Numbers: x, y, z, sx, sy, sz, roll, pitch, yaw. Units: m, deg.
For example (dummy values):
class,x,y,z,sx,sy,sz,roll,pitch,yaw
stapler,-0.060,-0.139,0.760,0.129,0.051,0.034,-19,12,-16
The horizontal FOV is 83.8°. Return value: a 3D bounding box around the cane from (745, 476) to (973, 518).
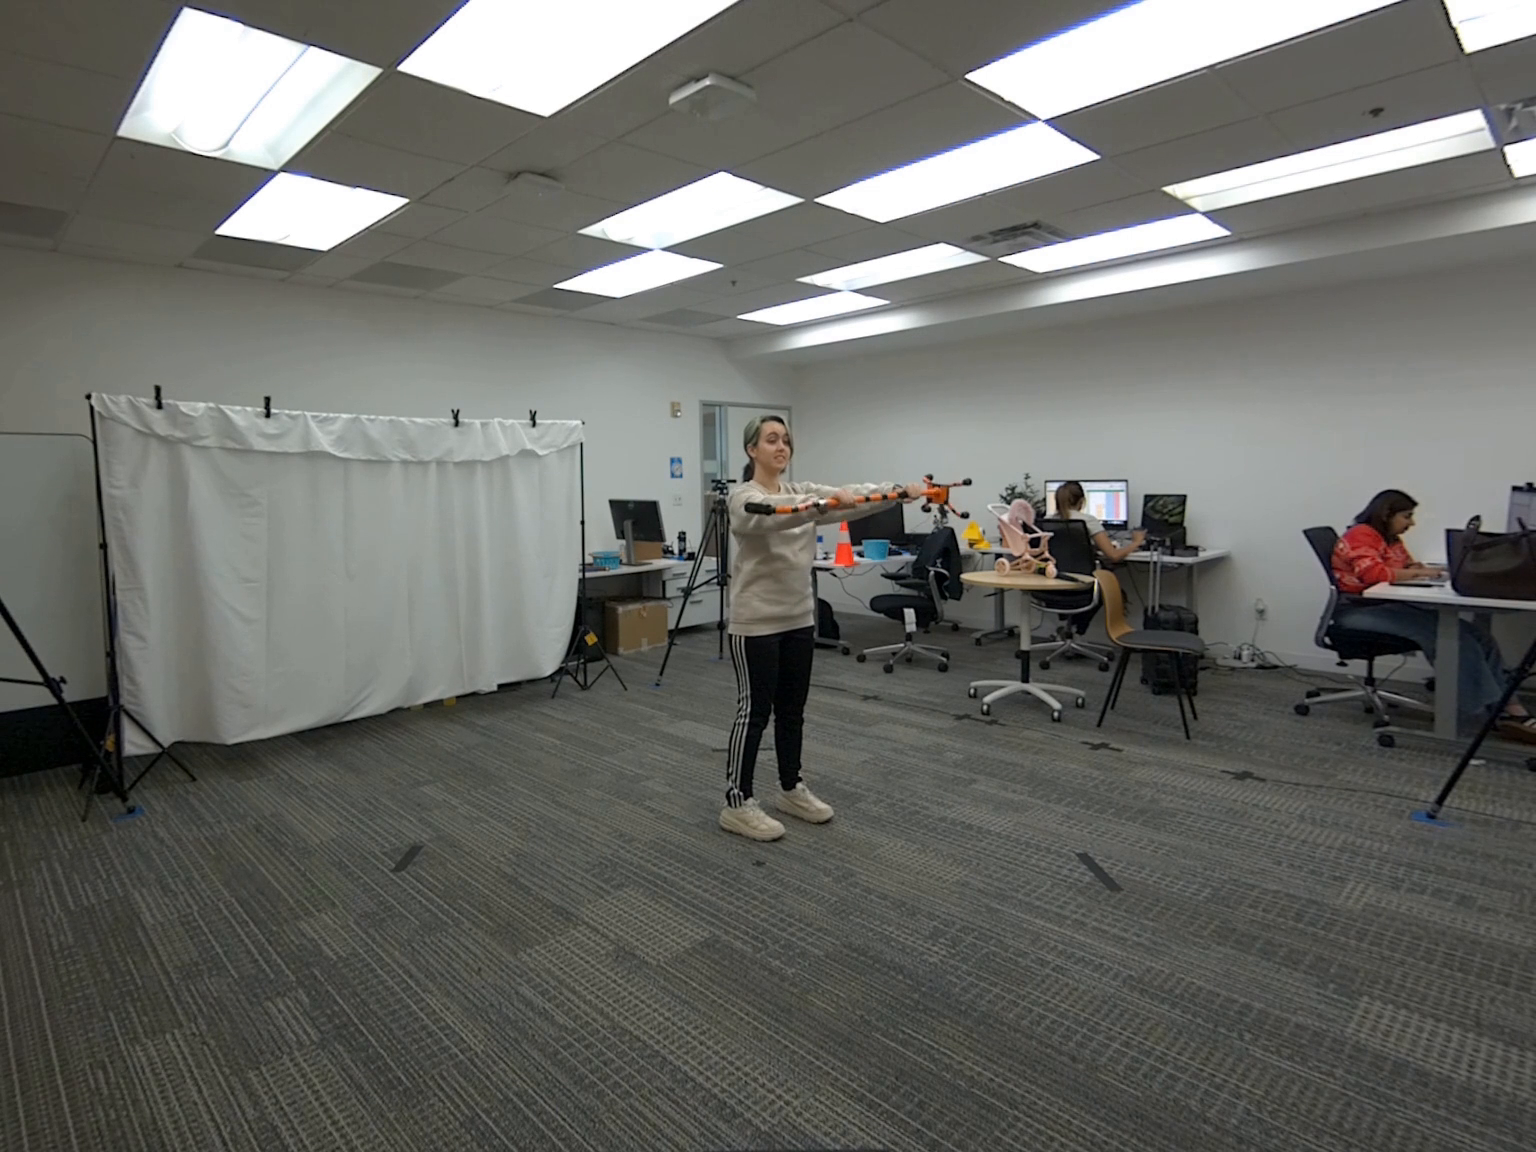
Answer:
class,x,y,z,sx,sy,sz,roll,pitch,yaw
cane,0.330,-0.252,2.937,0.886,0.150,0.214,-9,16,-38
